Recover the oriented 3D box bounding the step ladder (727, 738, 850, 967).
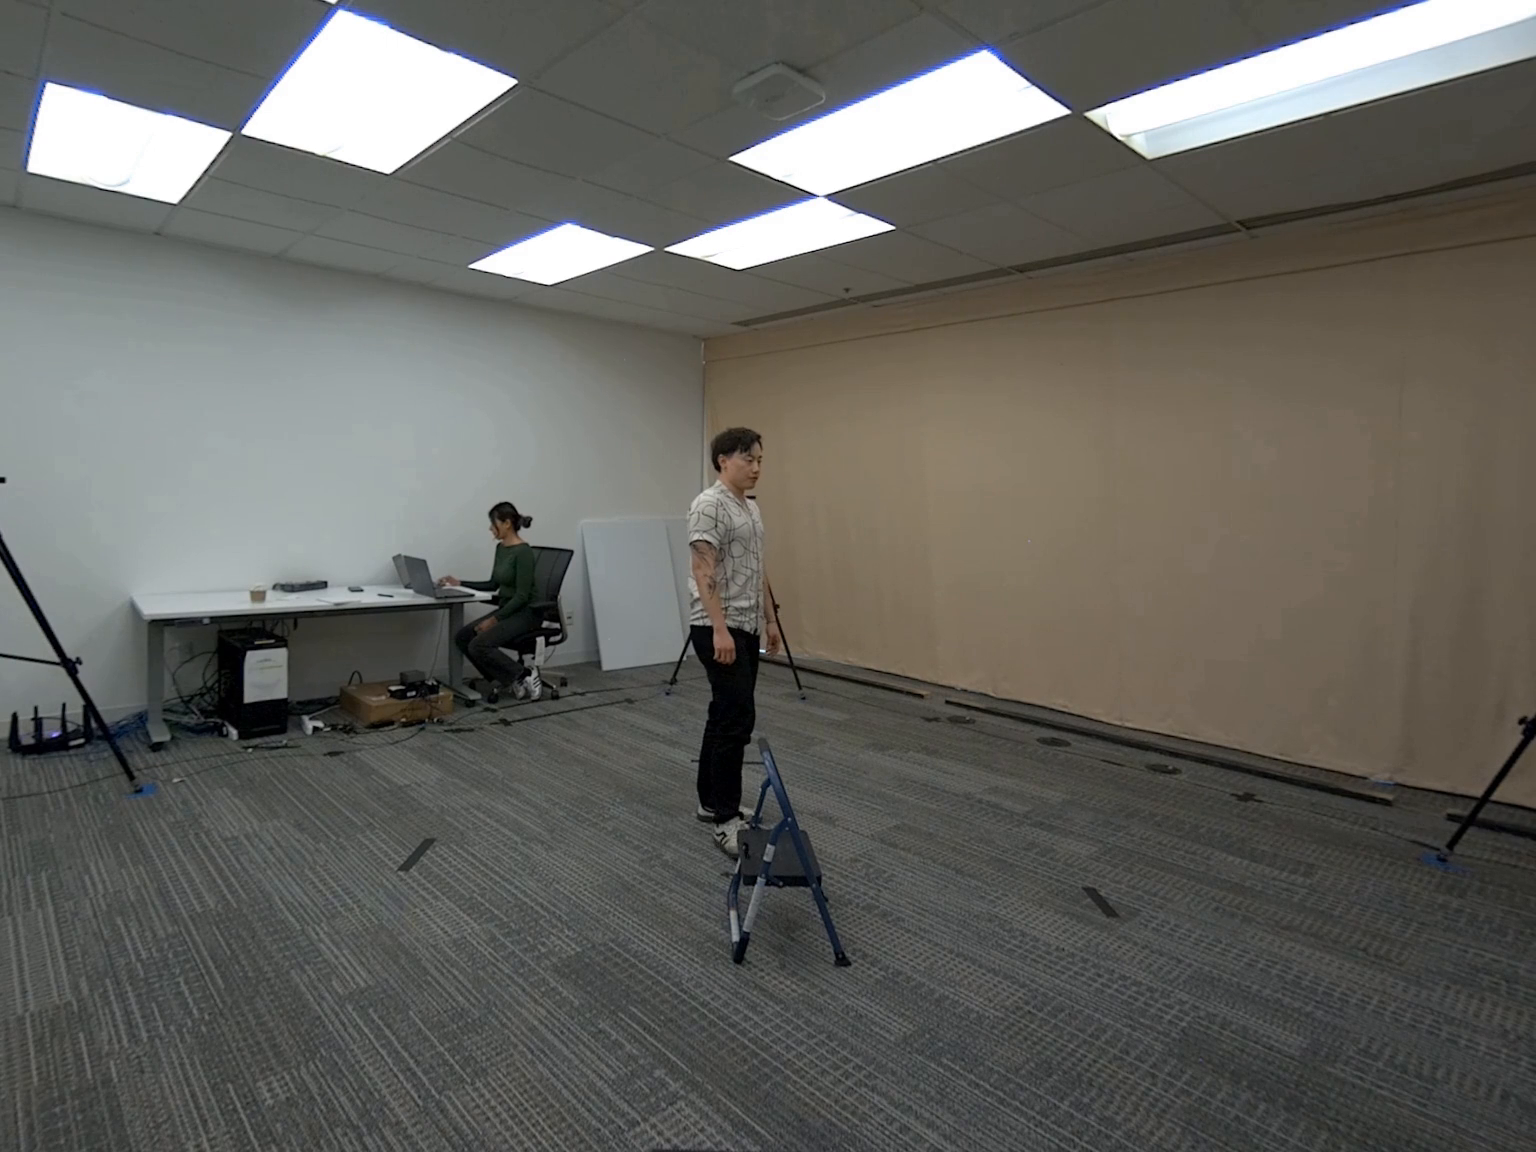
[{"bbox_3d":[0.049,0.843,2.698,0.348,0.604,0.433,1,4,-5],"label":"step ladder"}]
